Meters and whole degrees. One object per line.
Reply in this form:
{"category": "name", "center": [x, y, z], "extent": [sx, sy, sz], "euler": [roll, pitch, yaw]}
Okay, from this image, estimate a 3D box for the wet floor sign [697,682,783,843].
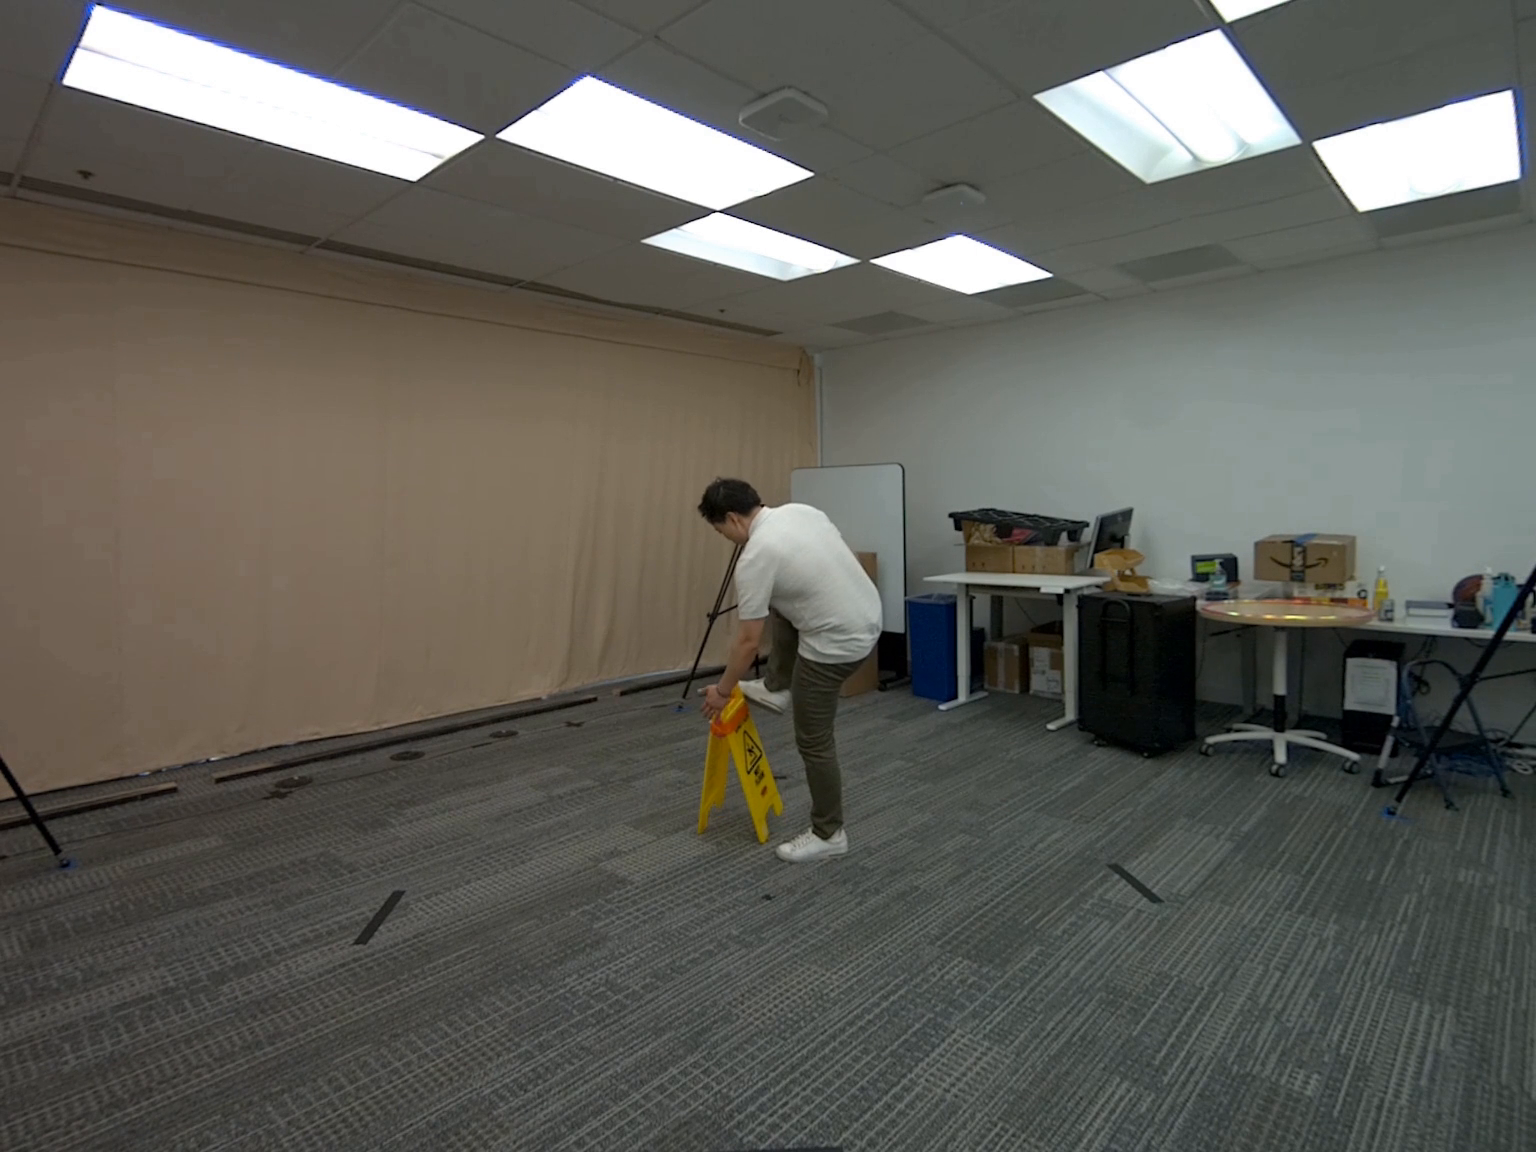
{"category": "wet floor sign", "center": [-0.146, 0.755, 3.556], "extent": [0.296, 0.639, 0.278], "euler": [0, 15, 22]}
